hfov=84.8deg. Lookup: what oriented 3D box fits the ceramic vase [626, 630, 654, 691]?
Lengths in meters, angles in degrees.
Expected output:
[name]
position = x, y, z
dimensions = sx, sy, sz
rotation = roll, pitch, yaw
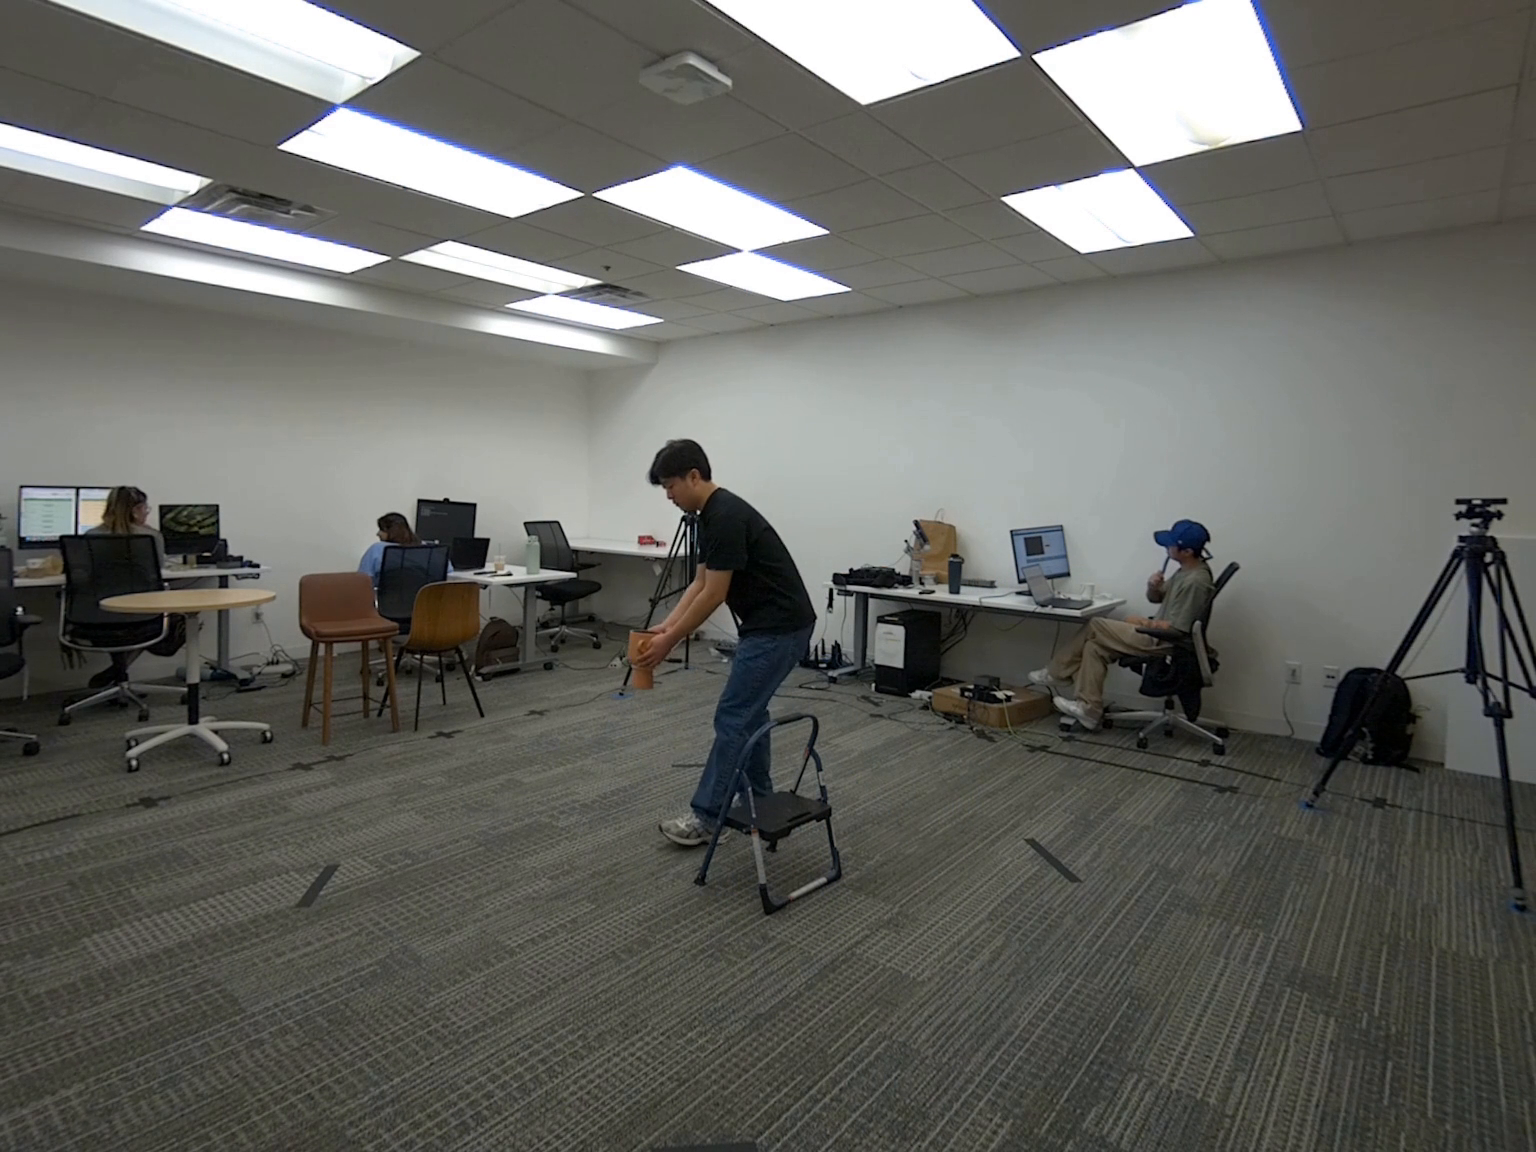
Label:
[ceramic vase]
position = -0.500, 0.340, 3.395
dimensions = 0.153, 0.220, 0.139
rotation = 4, 1, -42
